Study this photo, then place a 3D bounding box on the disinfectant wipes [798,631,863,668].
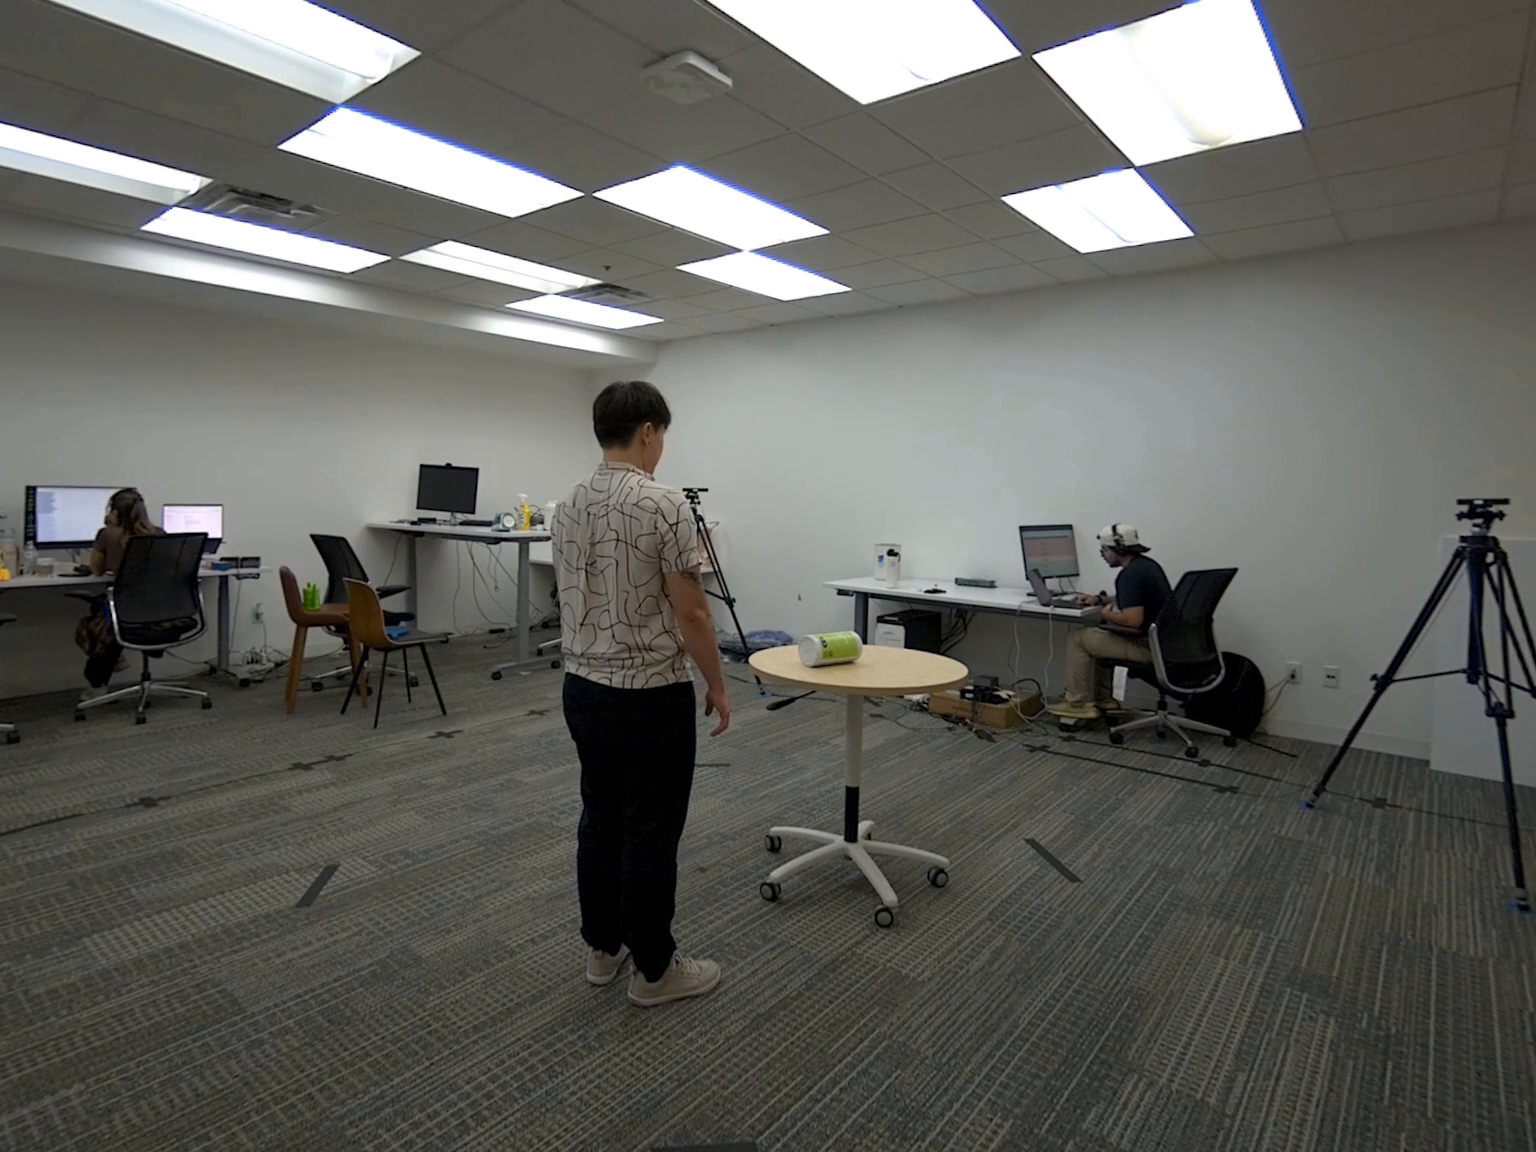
[{"bbox_3d":[0.207,0.250,2.993,0.211,0.117,0.121,-1,5,-34],"label":"disinfectant wipes"}]
